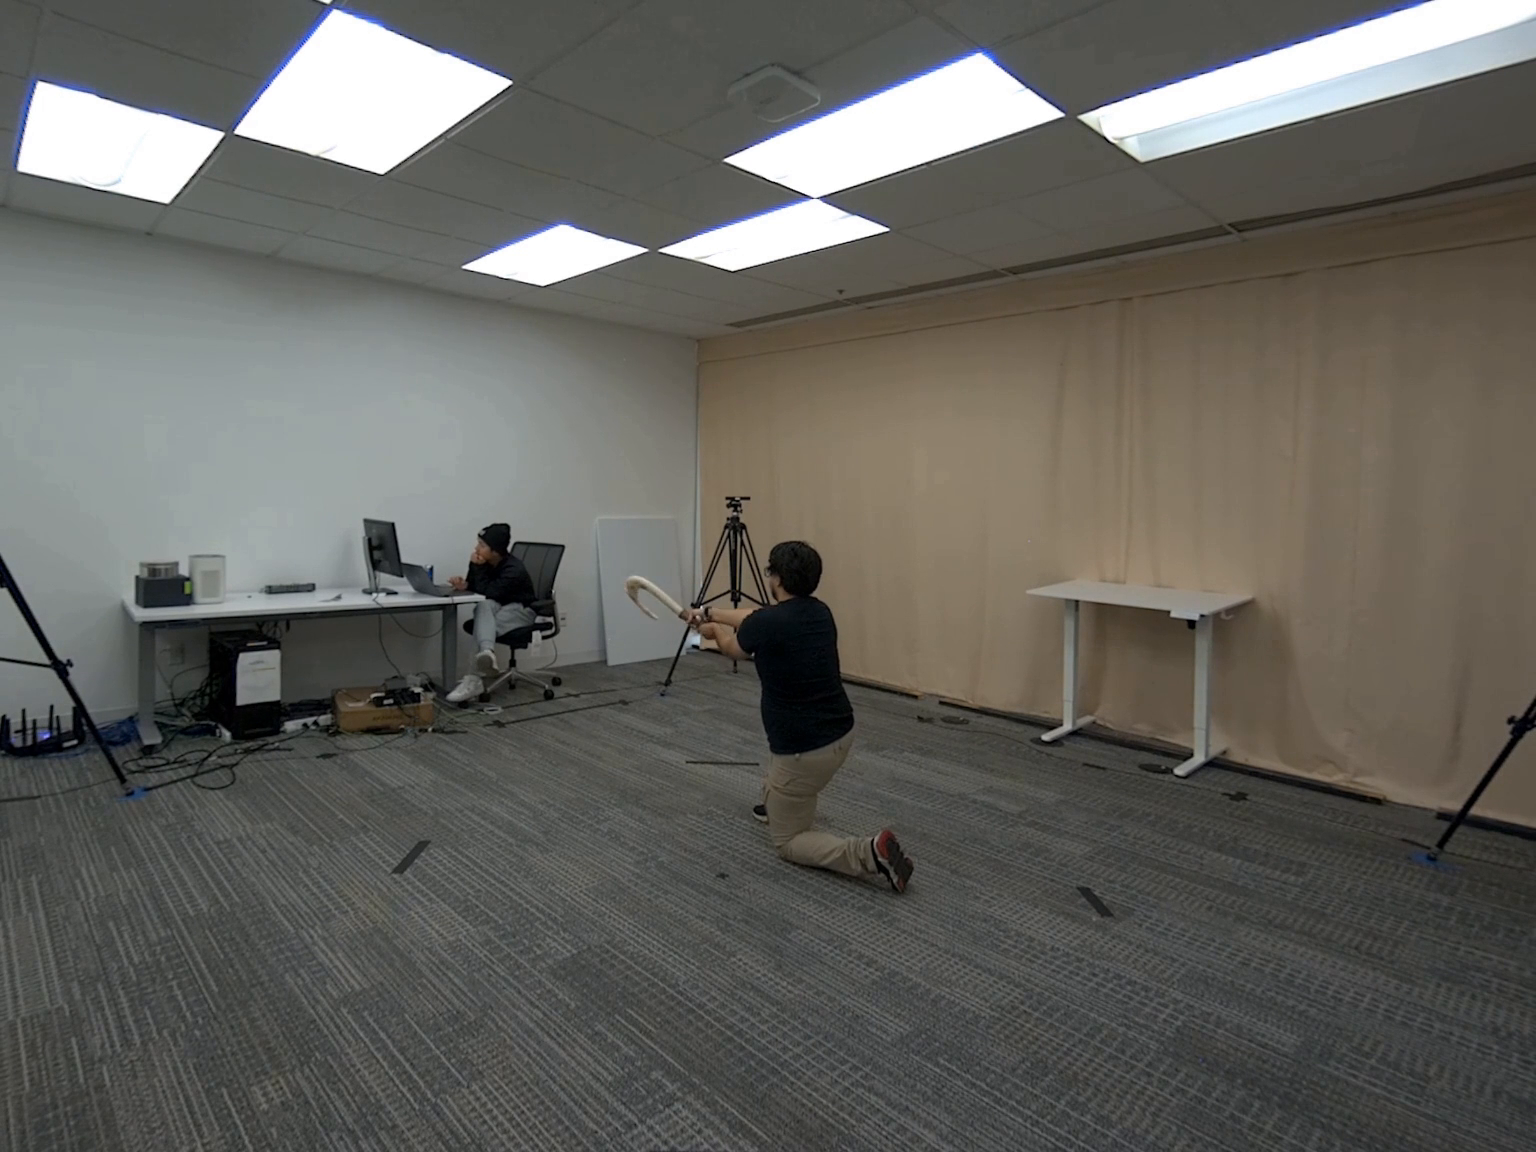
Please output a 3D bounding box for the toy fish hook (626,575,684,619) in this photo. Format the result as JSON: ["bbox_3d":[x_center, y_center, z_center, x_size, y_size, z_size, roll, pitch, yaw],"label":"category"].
[{"bbox_3d":[-0.438,0.179,3.821,0.515,0.221,0.048,32,55,15],"label":"toy fish hook"}]
